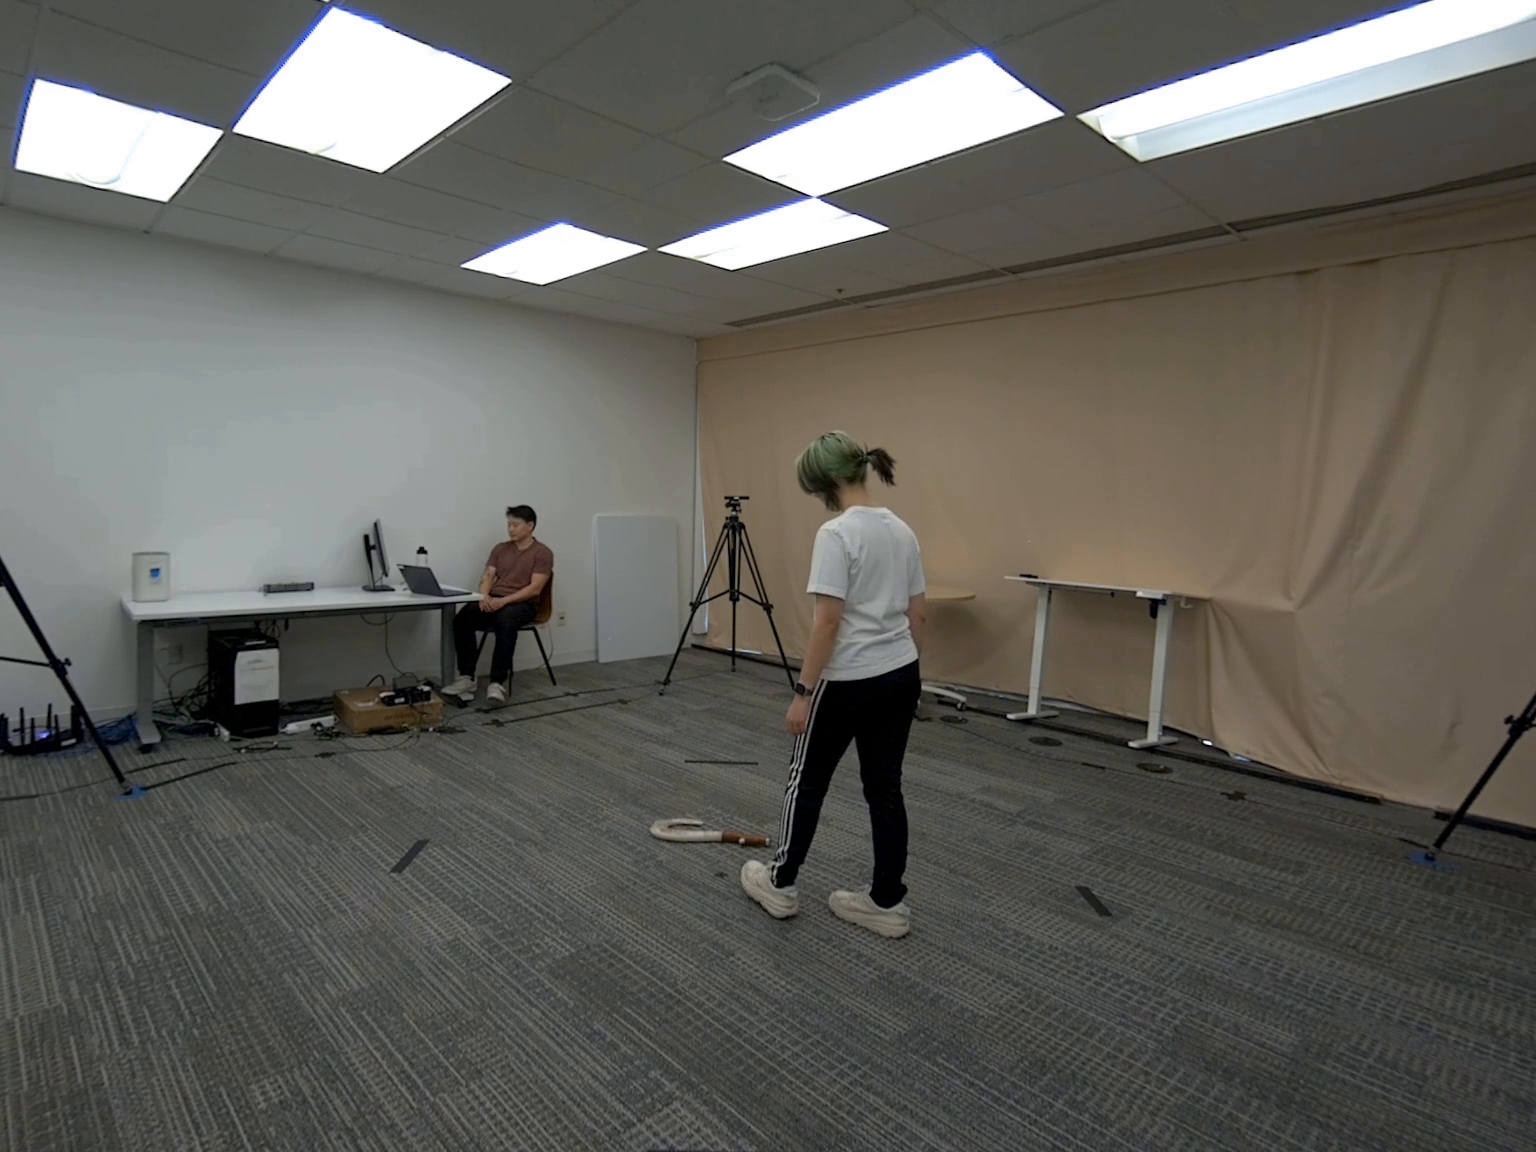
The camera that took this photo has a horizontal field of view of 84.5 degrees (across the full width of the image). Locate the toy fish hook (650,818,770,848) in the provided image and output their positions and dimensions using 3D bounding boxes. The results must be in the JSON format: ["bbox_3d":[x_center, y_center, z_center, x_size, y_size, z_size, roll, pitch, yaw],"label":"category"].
[{"bbox_3d":[-0.238,1.048,3.463,0.511,0.048,0.223,2,7,10],"label":"toy fish hook"}]
